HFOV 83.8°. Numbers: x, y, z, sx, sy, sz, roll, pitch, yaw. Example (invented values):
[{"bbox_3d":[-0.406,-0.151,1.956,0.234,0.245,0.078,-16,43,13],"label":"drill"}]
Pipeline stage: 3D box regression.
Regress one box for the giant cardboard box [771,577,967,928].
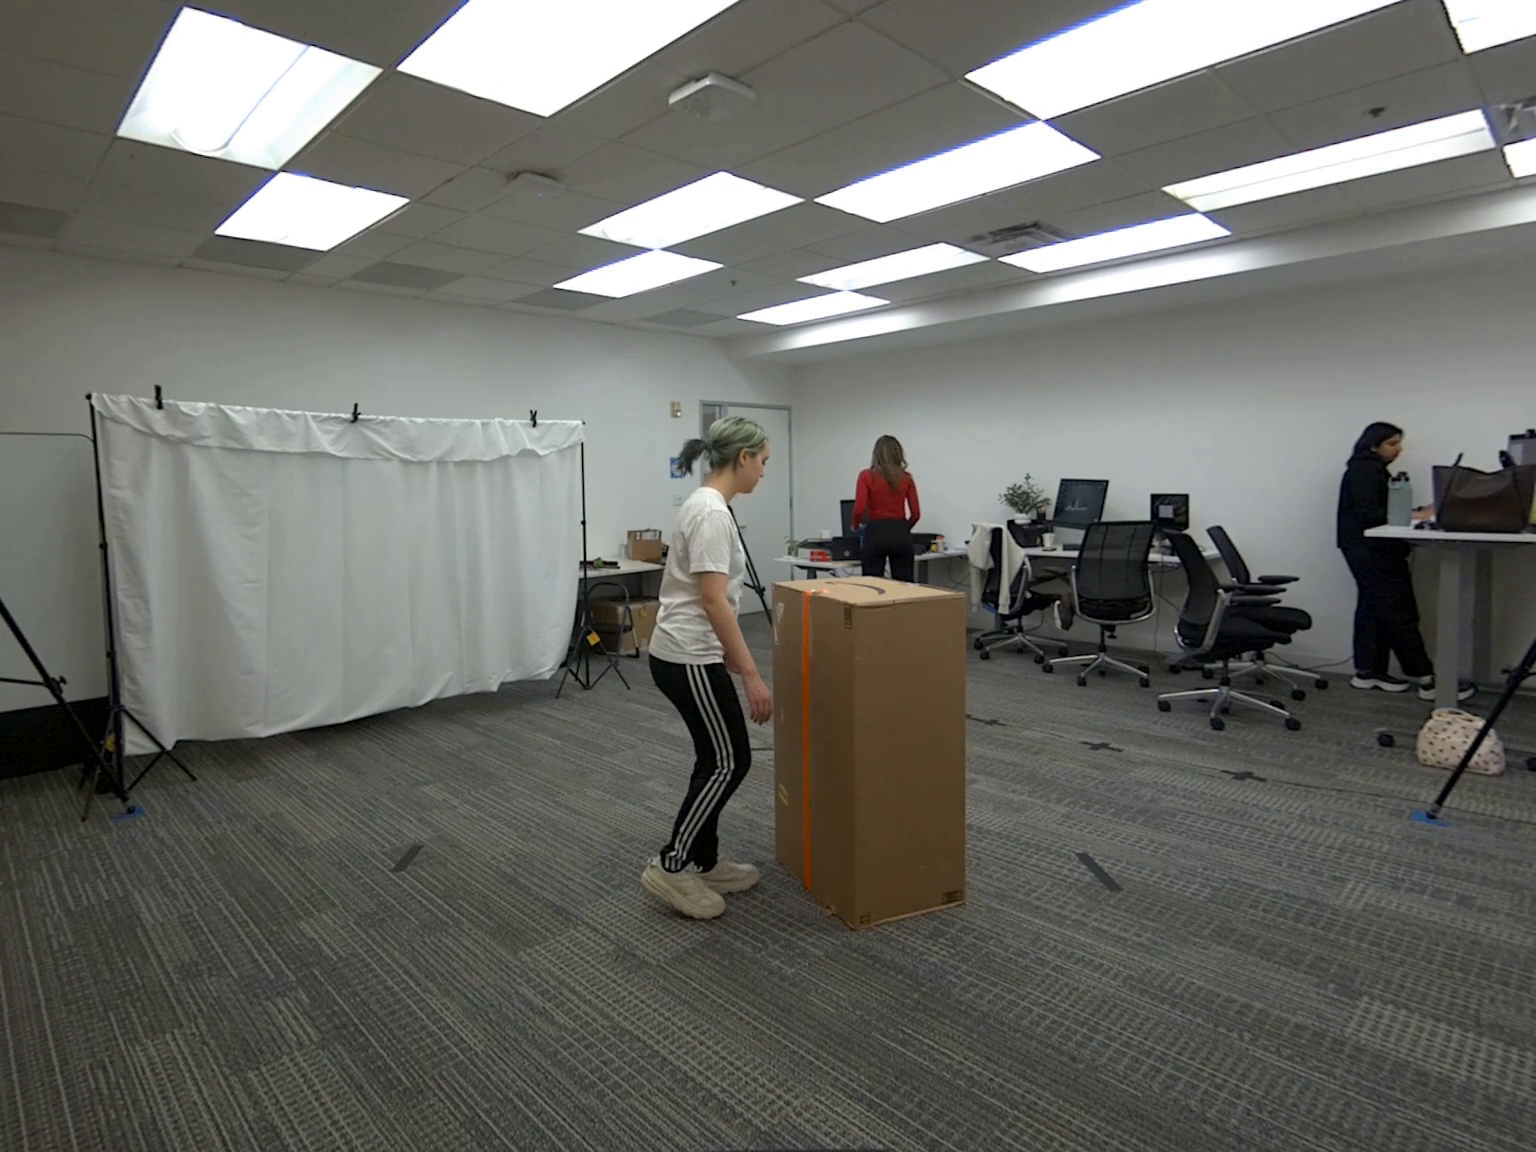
[{"bbox_3d":[0.333,0.552,2.943,0.437,1.023,0.598,-2,5,-25],"label":"giant cardboard box"}]
